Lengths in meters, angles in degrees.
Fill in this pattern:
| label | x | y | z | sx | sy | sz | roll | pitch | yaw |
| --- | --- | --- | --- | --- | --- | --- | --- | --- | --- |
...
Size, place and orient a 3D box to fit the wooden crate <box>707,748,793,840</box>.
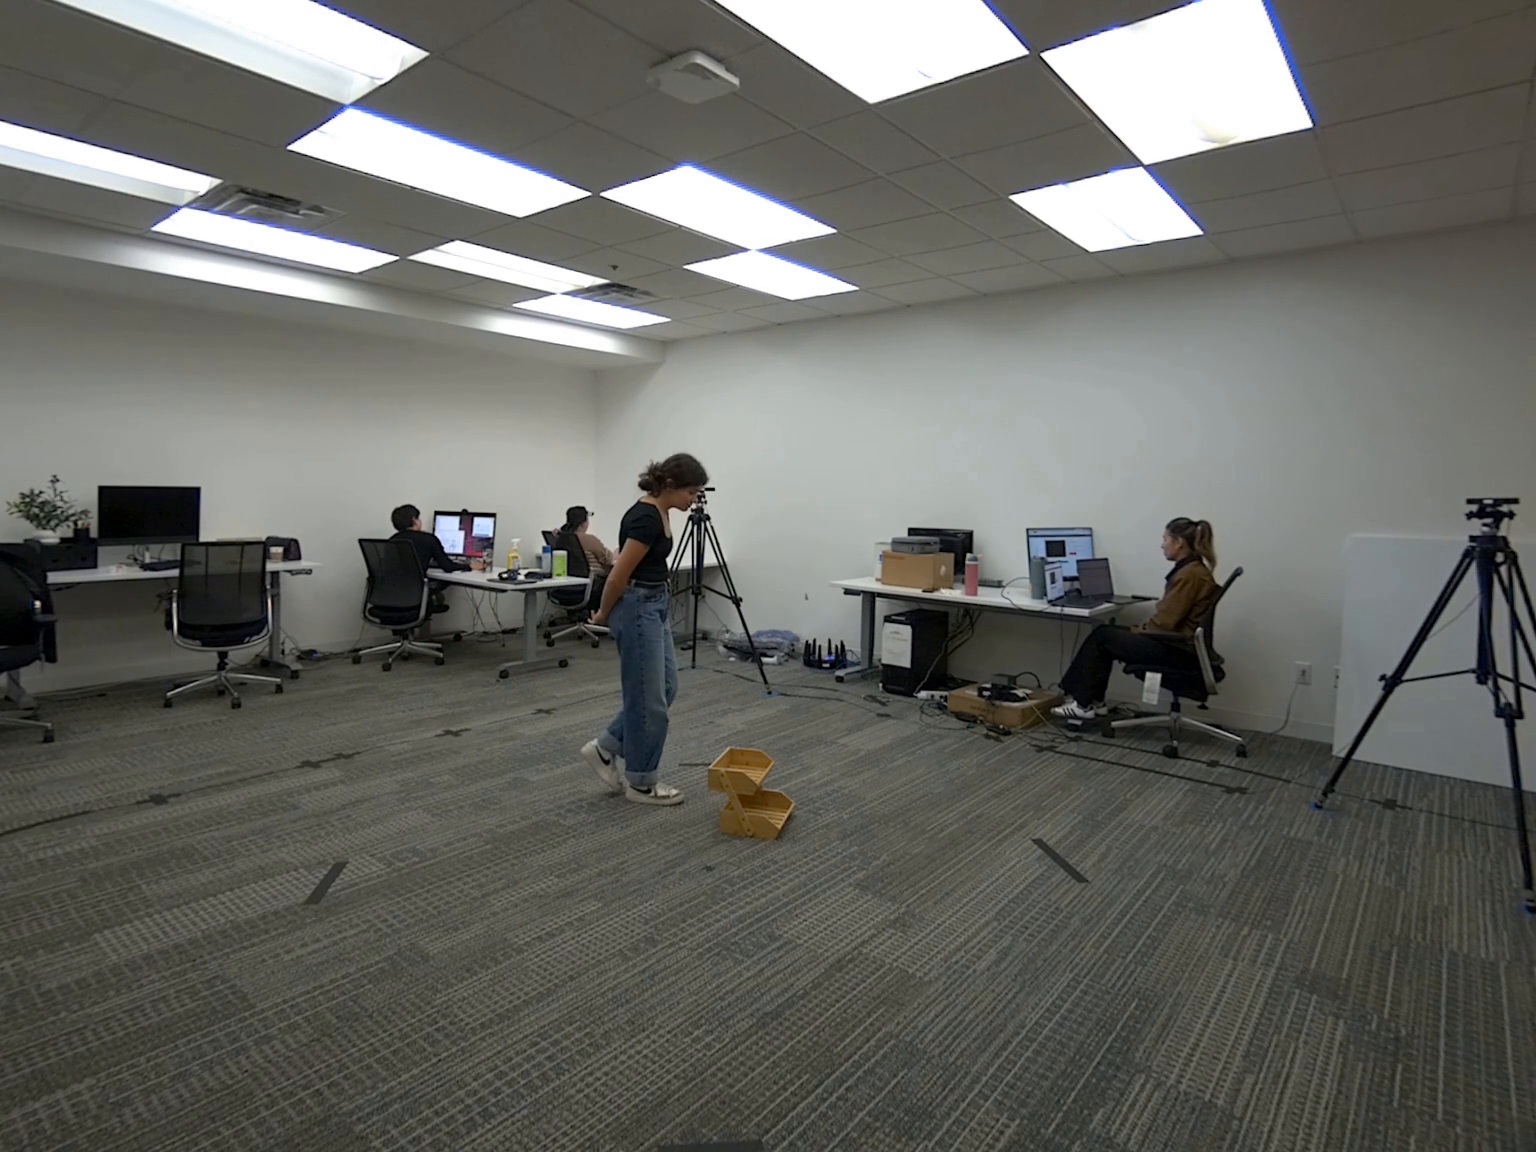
| label | x | y | z | sx | sy | sz | roll | pitch | yaw |
| --- | --- | --- | --- | --- | --- | --- | --- | --- | --- |
| wooden crate | -0.067 | 0.893 | 3.550 | 0.307 | 0.272 | 0.320 | 2 | 4 | 15 |
